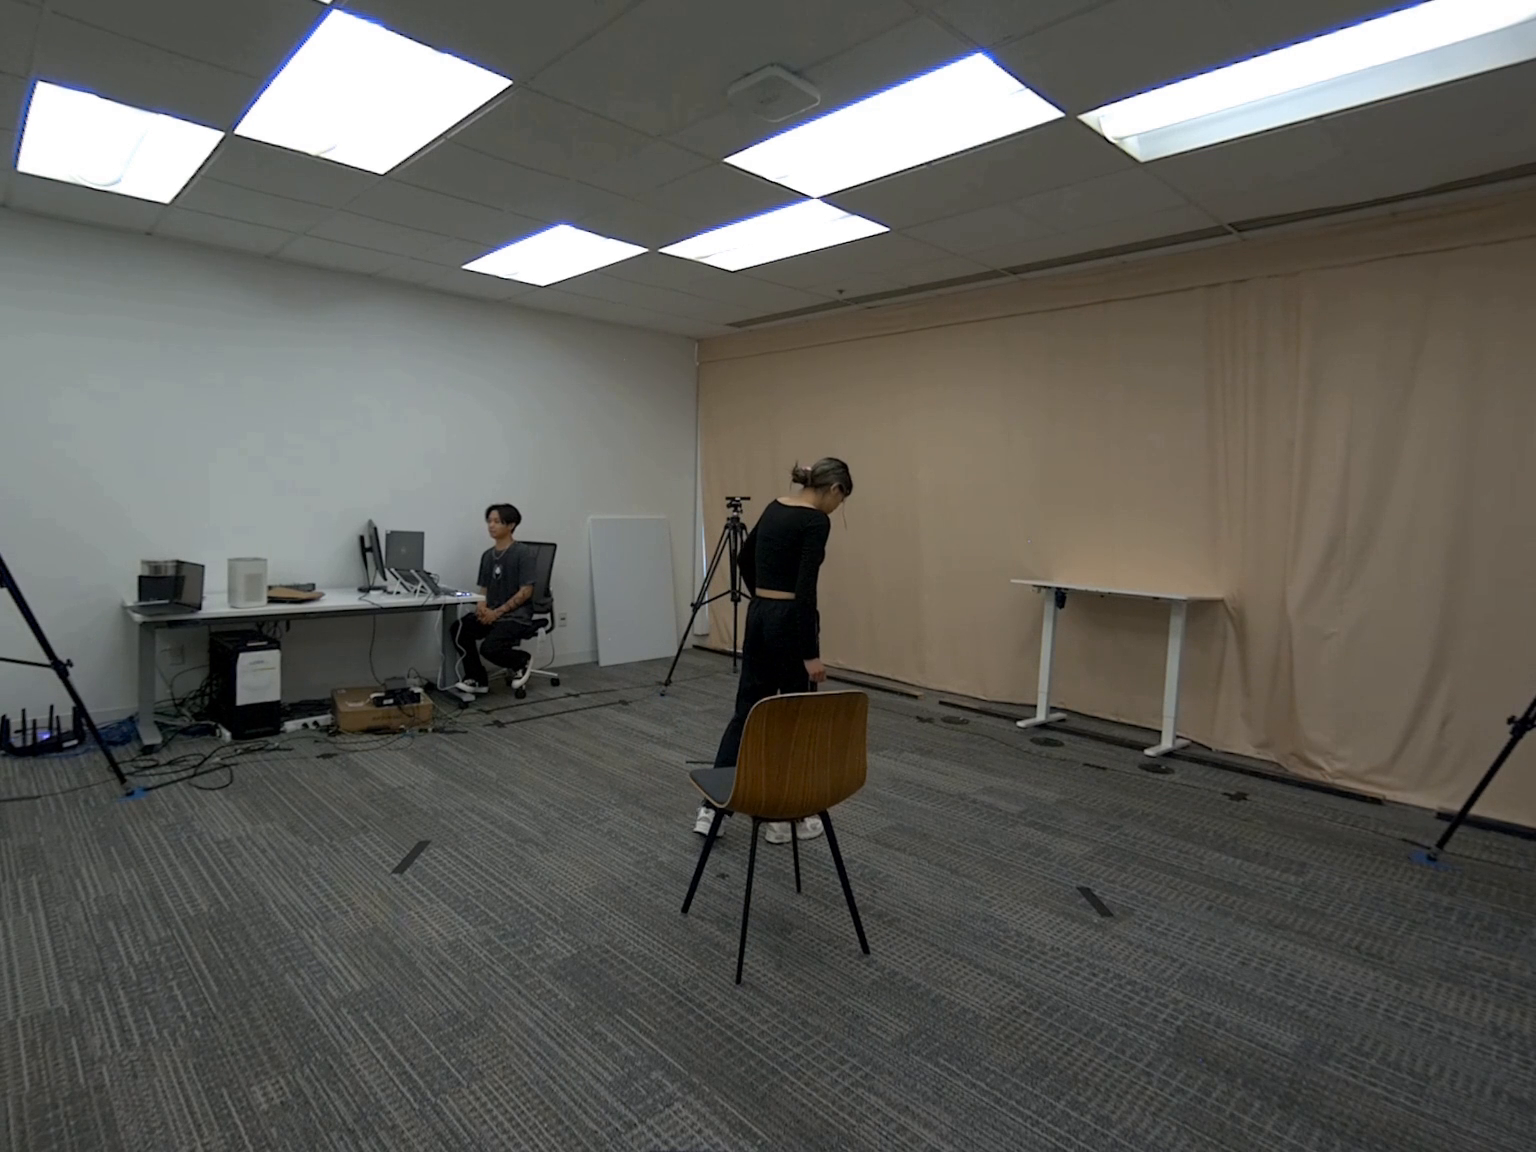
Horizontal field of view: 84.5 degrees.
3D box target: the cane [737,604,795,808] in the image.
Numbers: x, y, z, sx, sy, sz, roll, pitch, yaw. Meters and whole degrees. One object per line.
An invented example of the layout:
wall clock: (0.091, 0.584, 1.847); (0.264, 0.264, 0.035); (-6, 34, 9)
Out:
cane: (-0.006, 0.588, 3.909); (0.203, 0.905, 0.154); (0, 4, -20)
